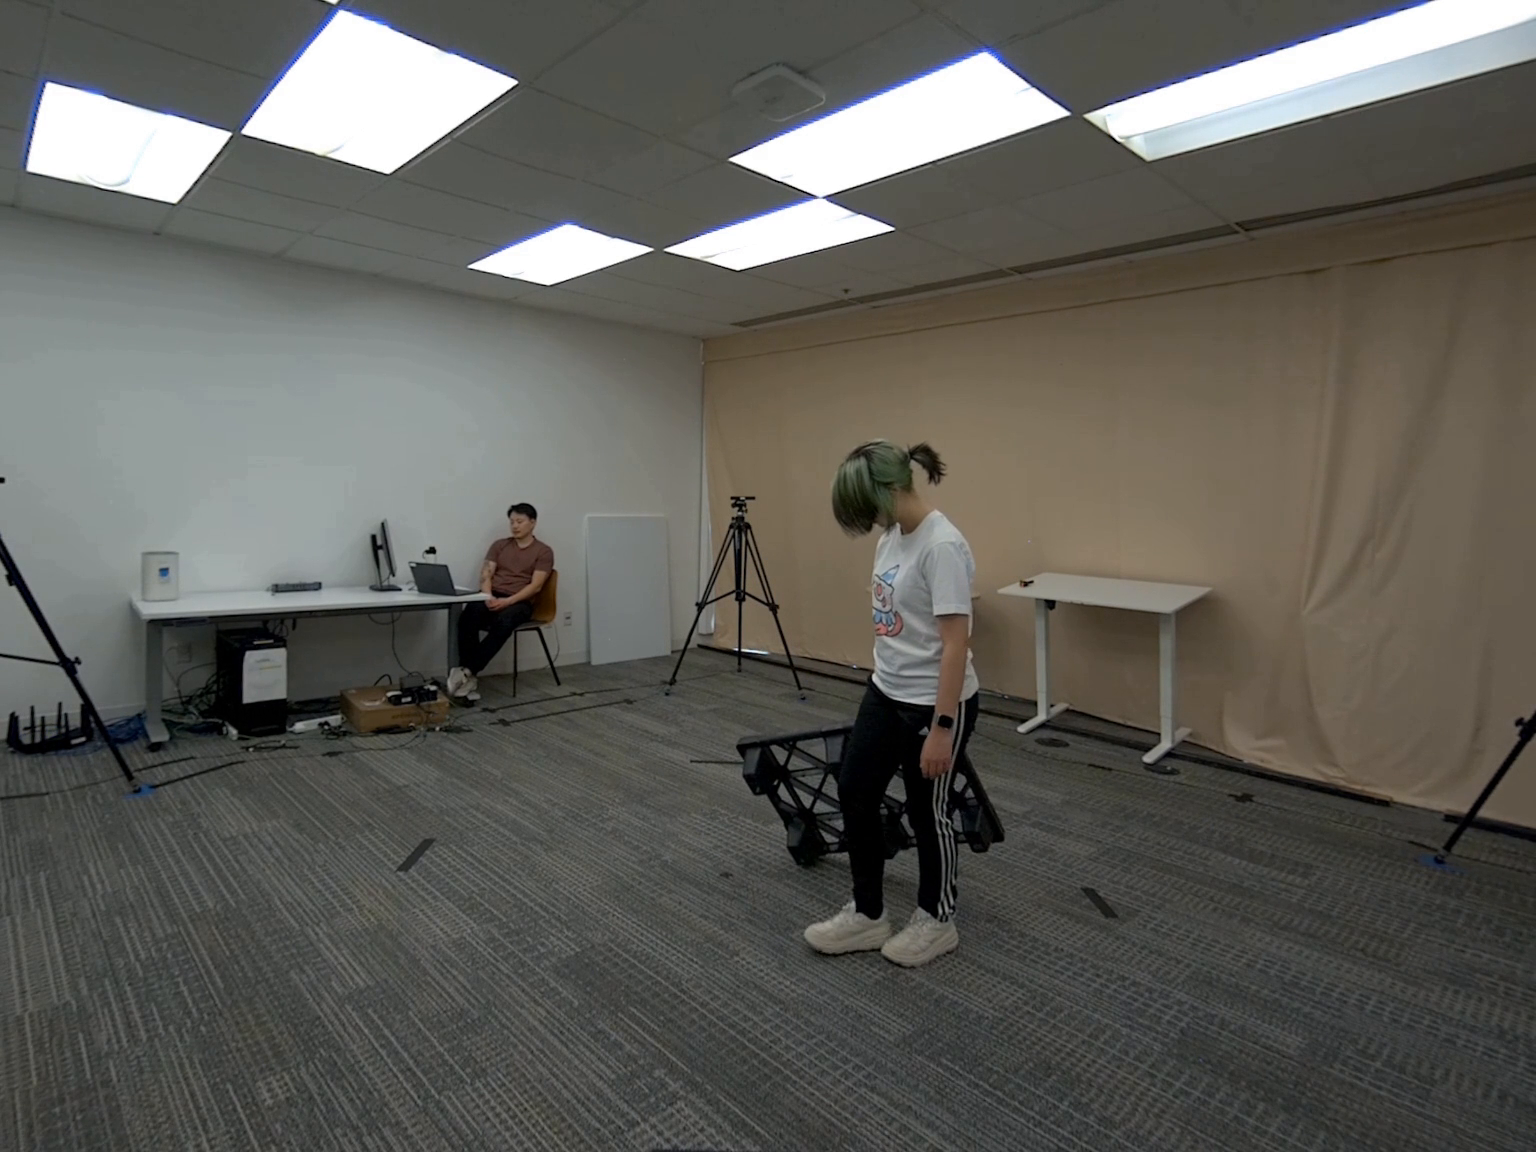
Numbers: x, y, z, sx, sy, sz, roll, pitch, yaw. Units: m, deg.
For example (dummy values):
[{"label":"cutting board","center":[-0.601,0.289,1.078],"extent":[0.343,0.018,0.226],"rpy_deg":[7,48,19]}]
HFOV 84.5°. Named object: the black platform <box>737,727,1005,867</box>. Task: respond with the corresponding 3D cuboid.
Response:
[{"label":"black platform","center":[0.329,0.788,2.976],"extent":[0.817,0.593,0.144],"rpy_deg":[-15,25,29]}]
